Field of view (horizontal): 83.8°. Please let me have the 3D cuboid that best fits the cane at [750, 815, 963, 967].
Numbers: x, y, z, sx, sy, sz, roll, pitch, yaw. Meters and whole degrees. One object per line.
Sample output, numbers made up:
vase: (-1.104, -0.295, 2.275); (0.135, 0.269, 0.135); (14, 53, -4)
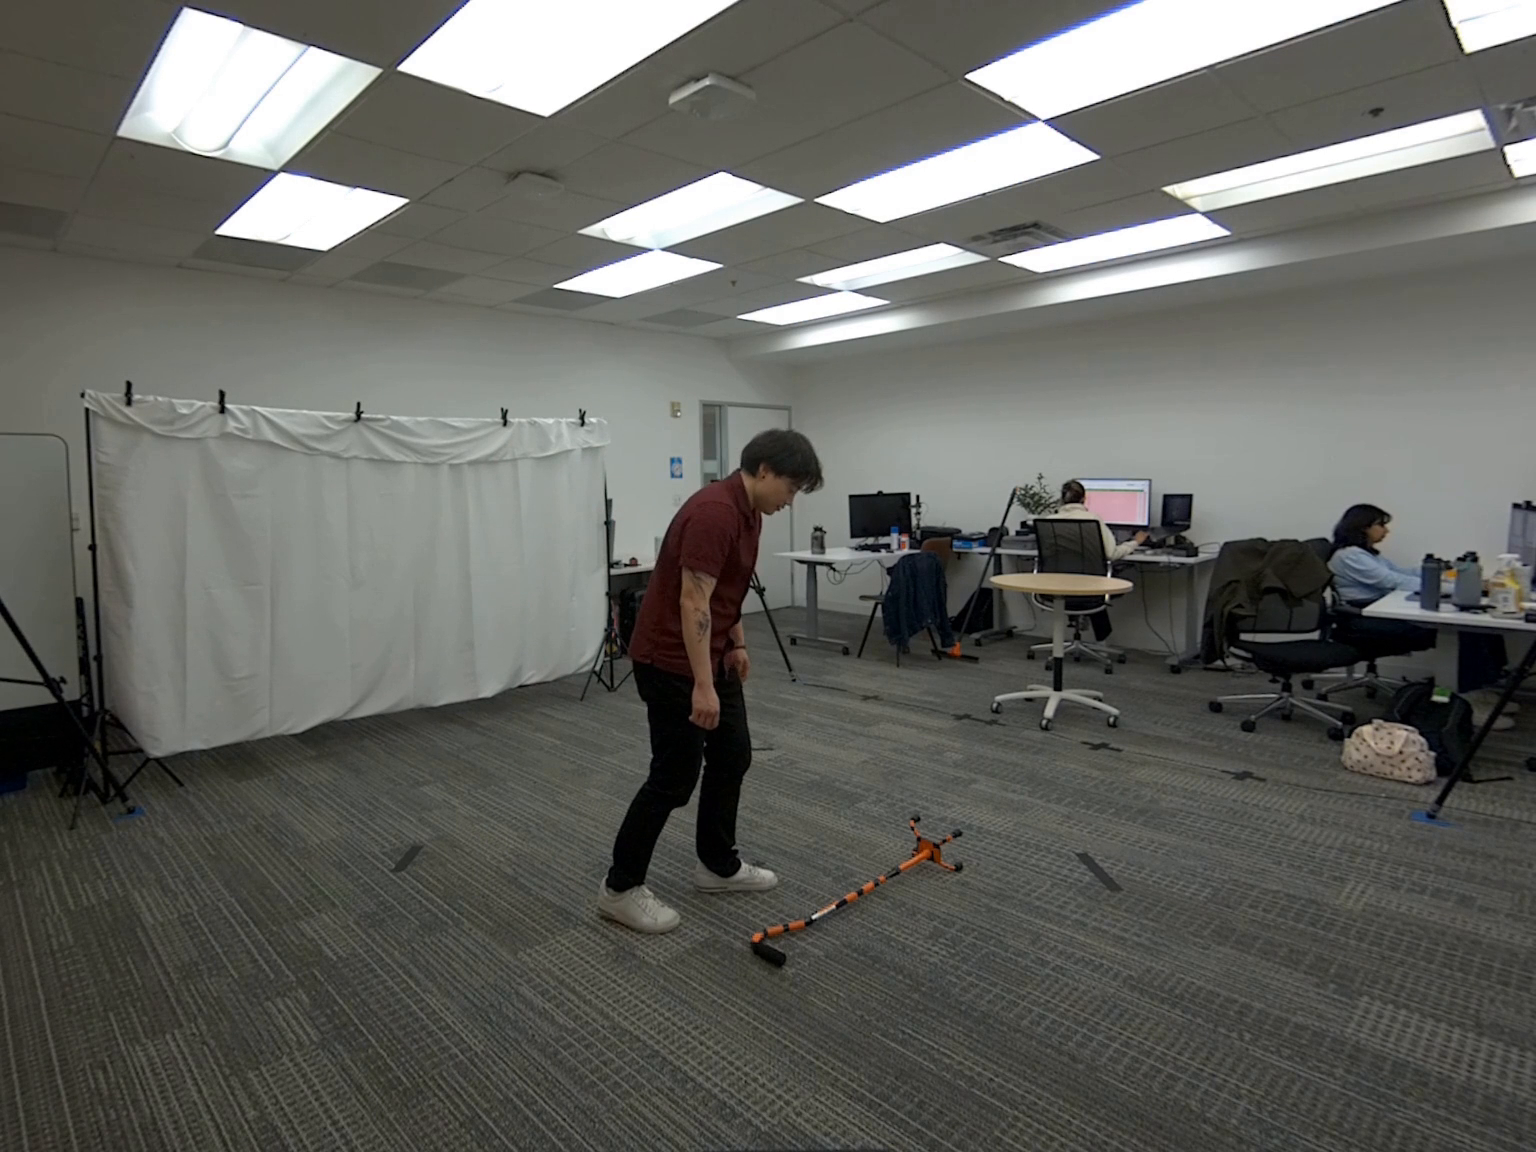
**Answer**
cane: (0.296, 1.022, 2.798); (0.886, 0.151, 0.213); (-12, 10, -42)
